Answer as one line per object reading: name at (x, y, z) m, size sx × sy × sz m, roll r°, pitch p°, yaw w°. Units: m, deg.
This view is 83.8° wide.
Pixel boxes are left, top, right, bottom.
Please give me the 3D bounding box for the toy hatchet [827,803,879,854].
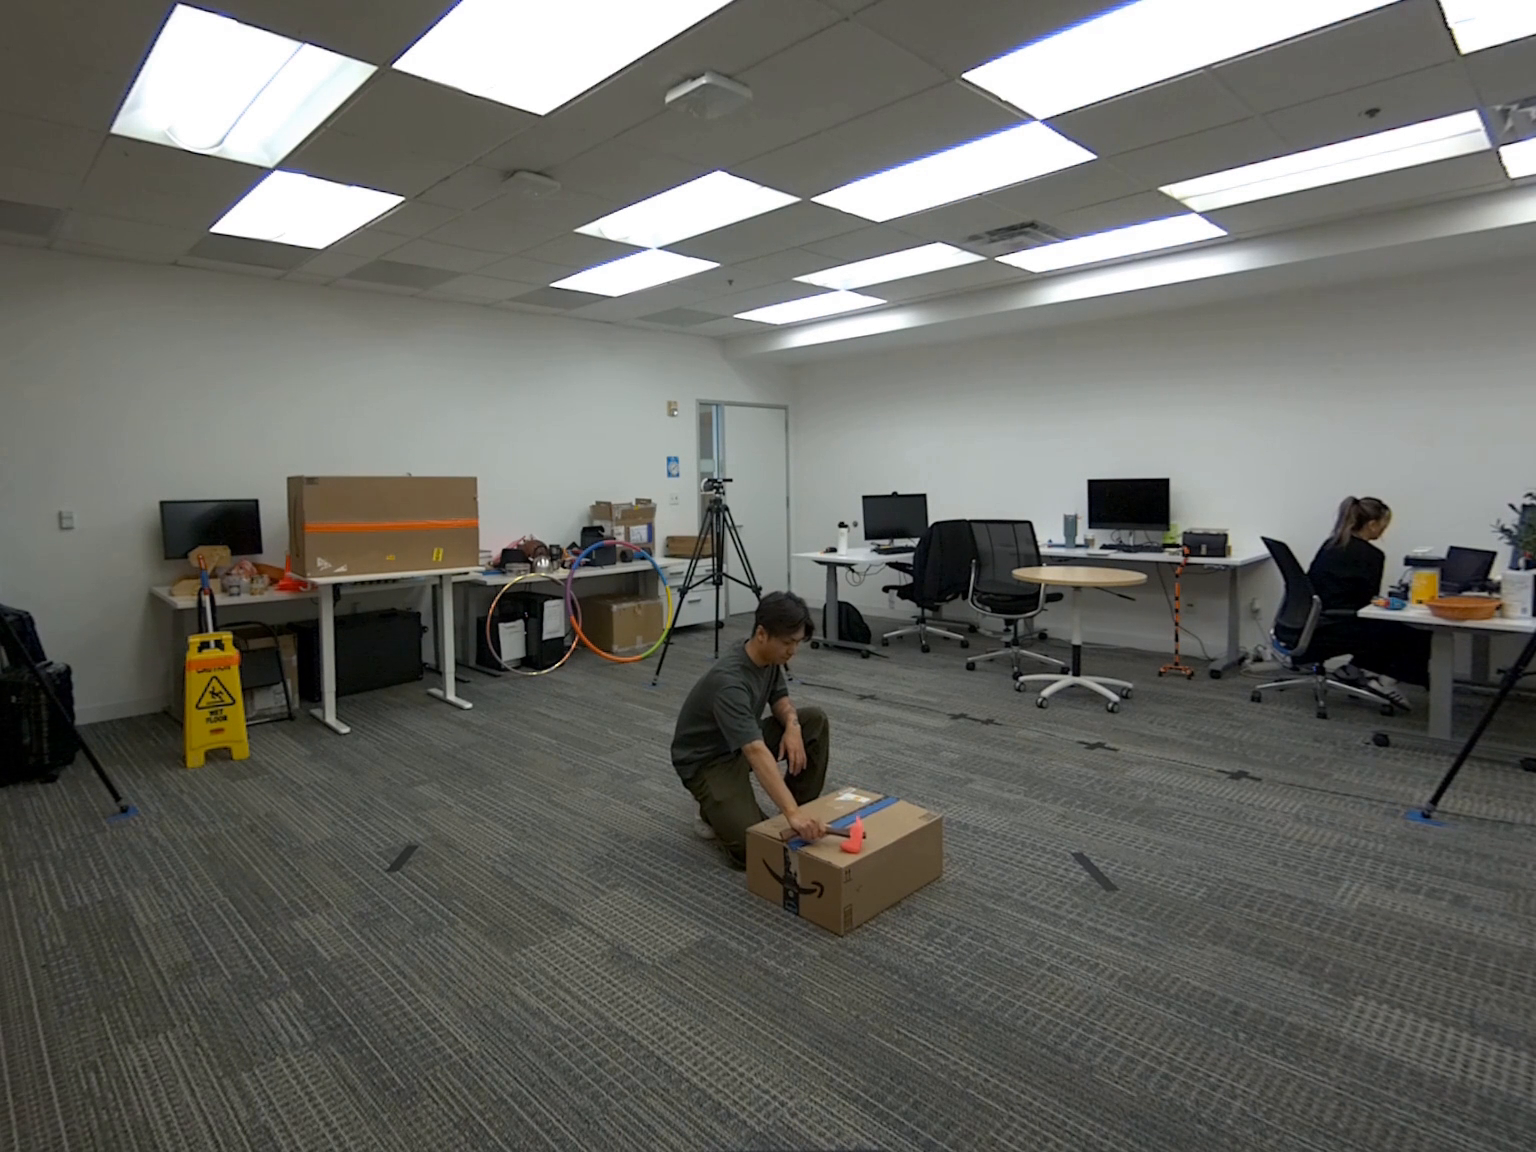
toy hatchet at (0.177, 0.842, 2.737) m, size 0.269 × 0.029 × 0.135 m, roll -10°, pitch 40°, yaw -3°
